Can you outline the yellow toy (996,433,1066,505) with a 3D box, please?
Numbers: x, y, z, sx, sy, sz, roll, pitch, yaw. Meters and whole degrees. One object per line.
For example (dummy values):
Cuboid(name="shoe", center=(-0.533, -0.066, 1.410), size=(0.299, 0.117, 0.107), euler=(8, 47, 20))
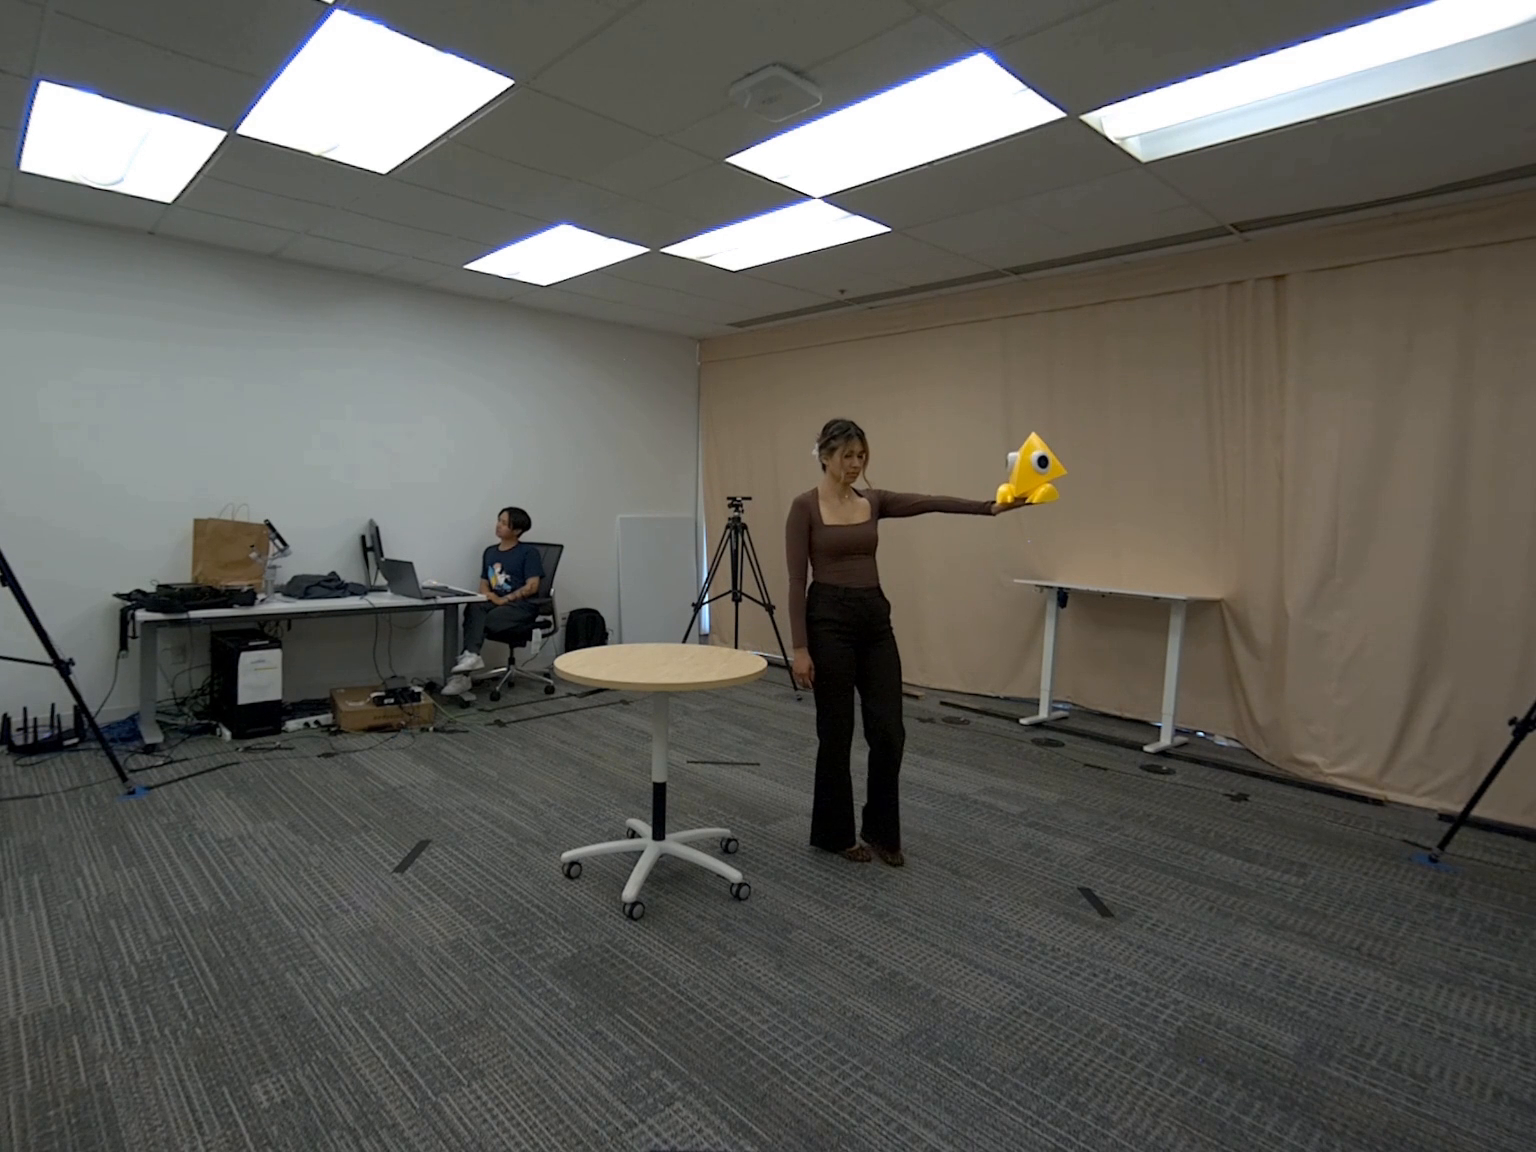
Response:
Cuboid(name="yellow toy", center=(0.894, -0.379, 2.919), size=(0.210, 0.229, 0.190), euler=(4, 14, 44))
